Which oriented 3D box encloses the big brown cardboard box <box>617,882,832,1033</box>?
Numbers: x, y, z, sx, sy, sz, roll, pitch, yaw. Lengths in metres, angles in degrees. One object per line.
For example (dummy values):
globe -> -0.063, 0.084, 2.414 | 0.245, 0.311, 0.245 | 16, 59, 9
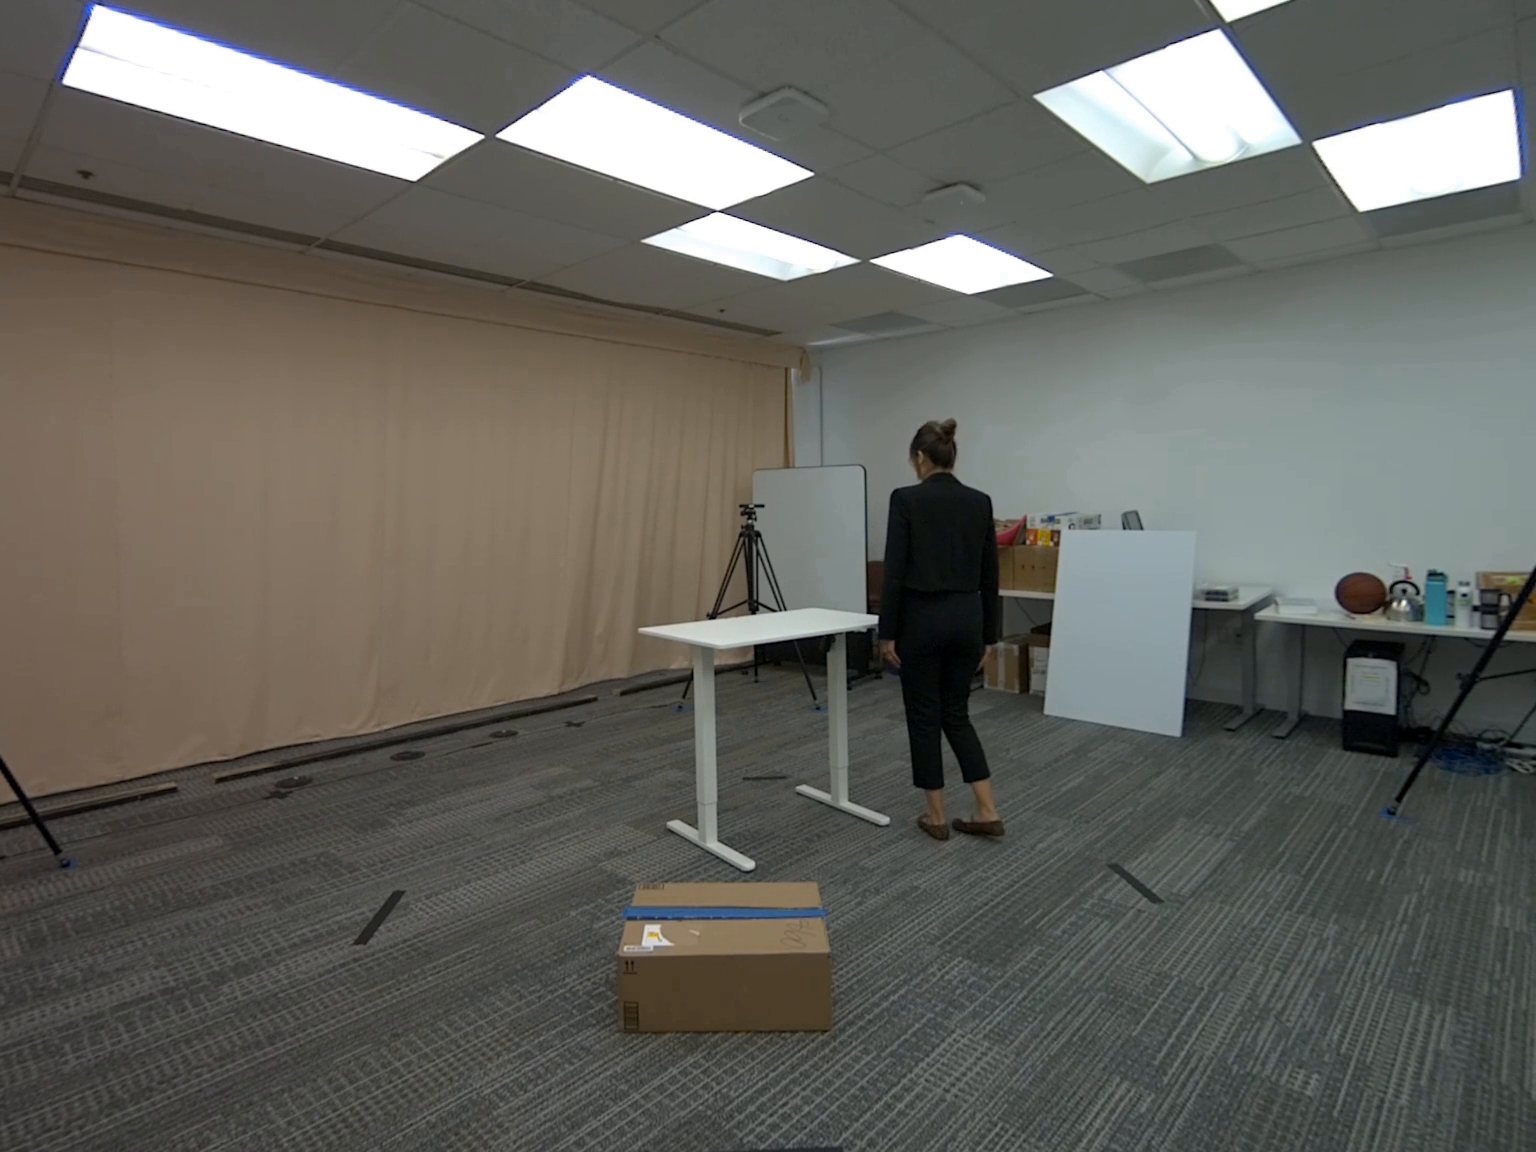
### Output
big brown cardboard box -> -0.119, 1.079, 2.420 | 0.589, 0.232, 0.419 | 0, 4, -1
